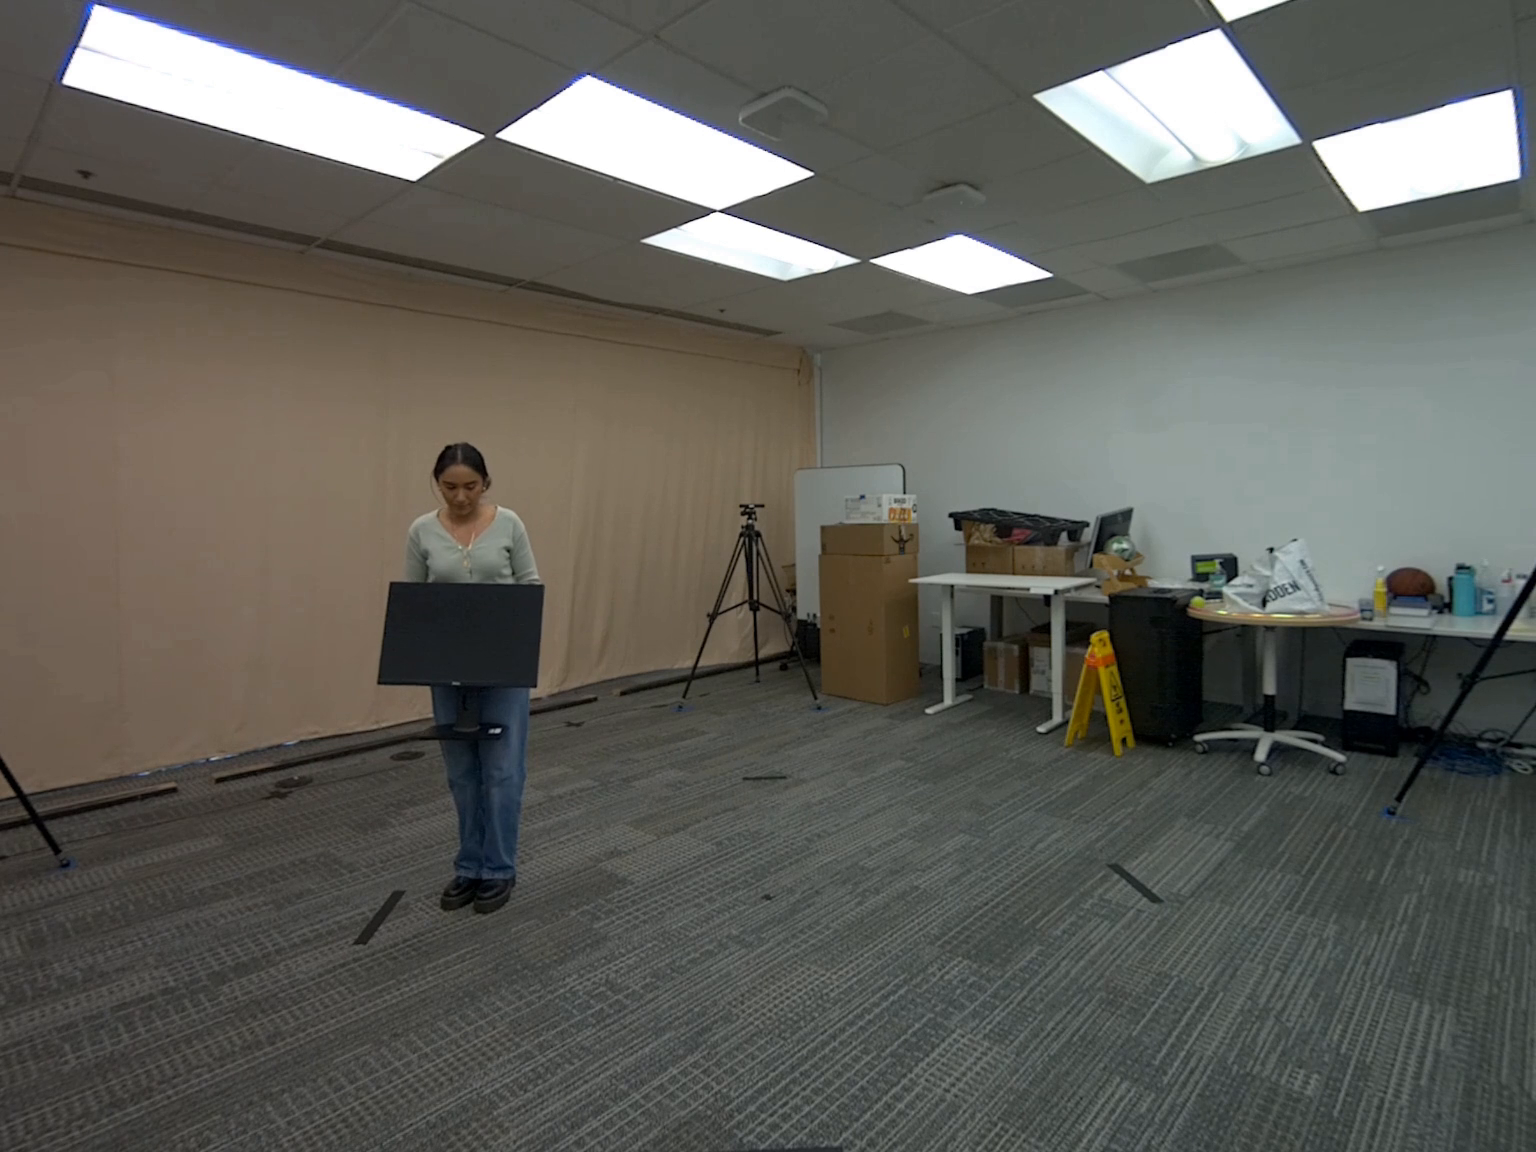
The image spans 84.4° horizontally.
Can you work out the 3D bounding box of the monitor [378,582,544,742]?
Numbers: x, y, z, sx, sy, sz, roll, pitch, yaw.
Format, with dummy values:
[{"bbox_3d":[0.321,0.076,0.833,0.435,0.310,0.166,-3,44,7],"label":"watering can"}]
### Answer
[{"bbox_3d":[-1.017,0.280,2.871,0.529,0.515,0.175,3,3,-1],"label":"monitor"}]
